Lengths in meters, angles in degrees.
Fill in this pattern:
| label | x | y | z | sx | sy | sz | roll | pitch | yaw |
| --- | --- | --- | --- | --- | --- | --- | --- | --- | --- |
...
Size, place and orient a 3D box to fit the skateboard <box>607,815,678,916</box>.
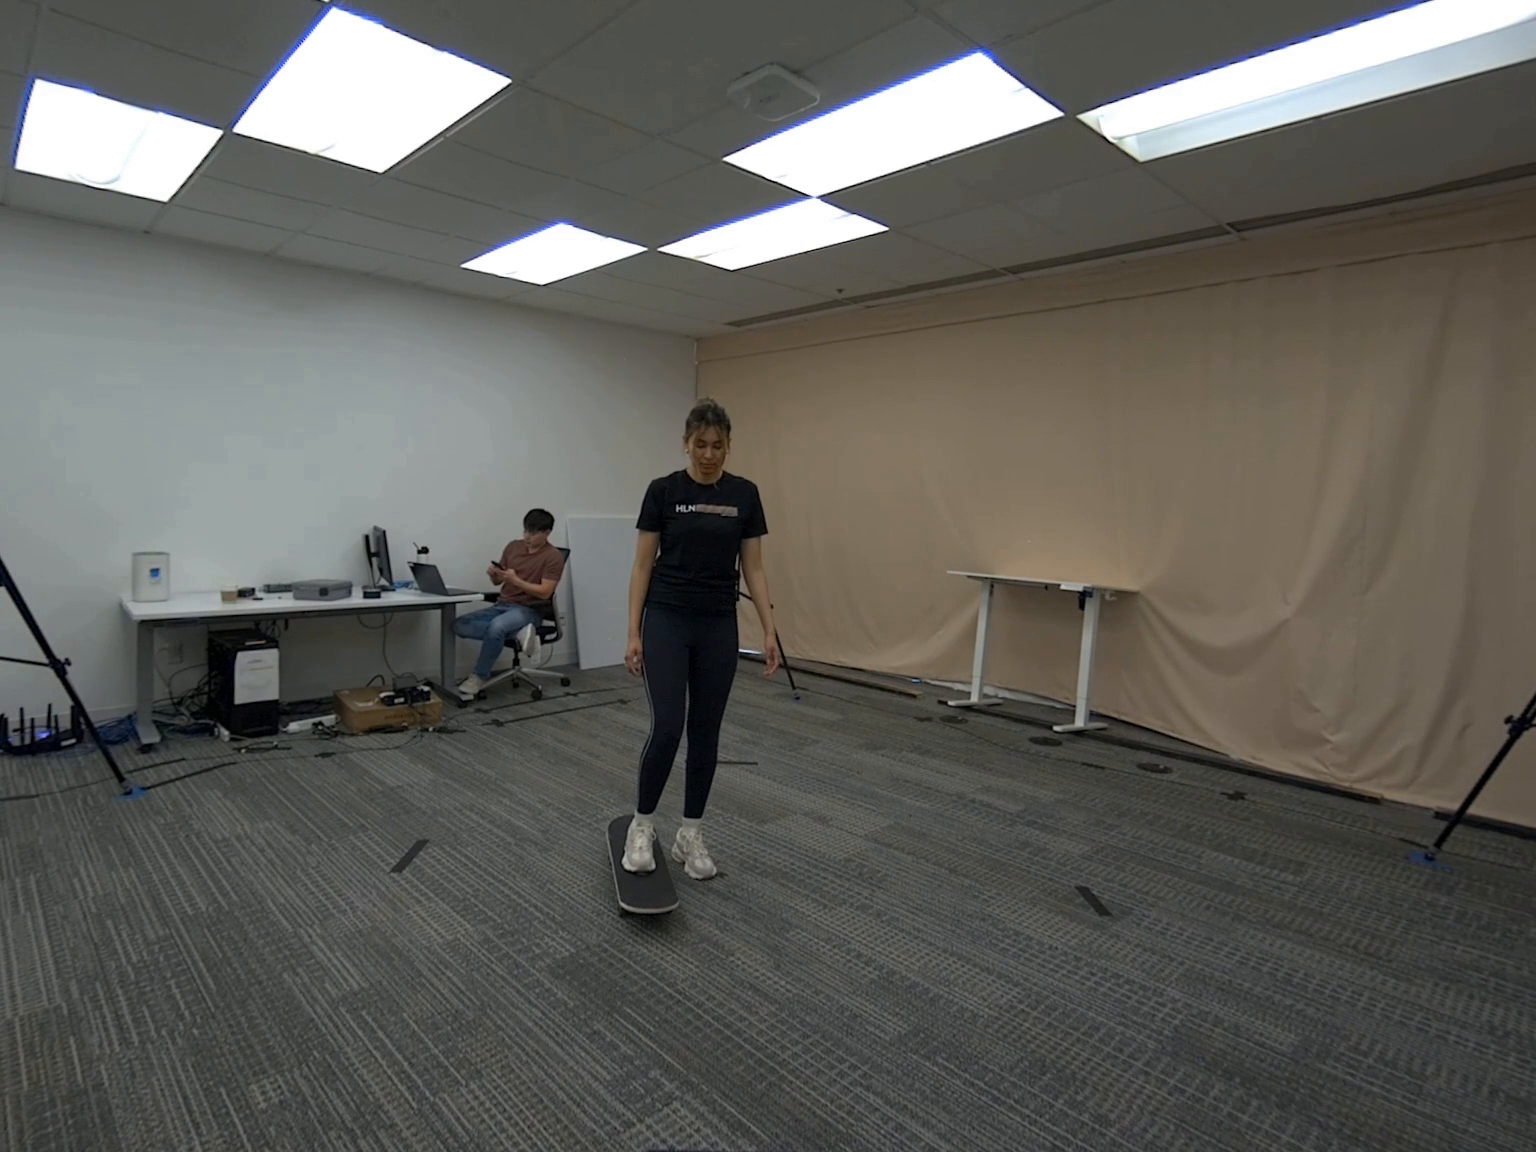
| label | x | y | z | sx | sy | sz | roll | pitch | yaw |
| --- | --- | --- | --- | --- | --- | --- | --- | --- | --- |
| skateboard | -0.468 | 1.050 | 3.002 | 0.191 | 0.110 | 0.796 | 0 | 6 | -14 |
